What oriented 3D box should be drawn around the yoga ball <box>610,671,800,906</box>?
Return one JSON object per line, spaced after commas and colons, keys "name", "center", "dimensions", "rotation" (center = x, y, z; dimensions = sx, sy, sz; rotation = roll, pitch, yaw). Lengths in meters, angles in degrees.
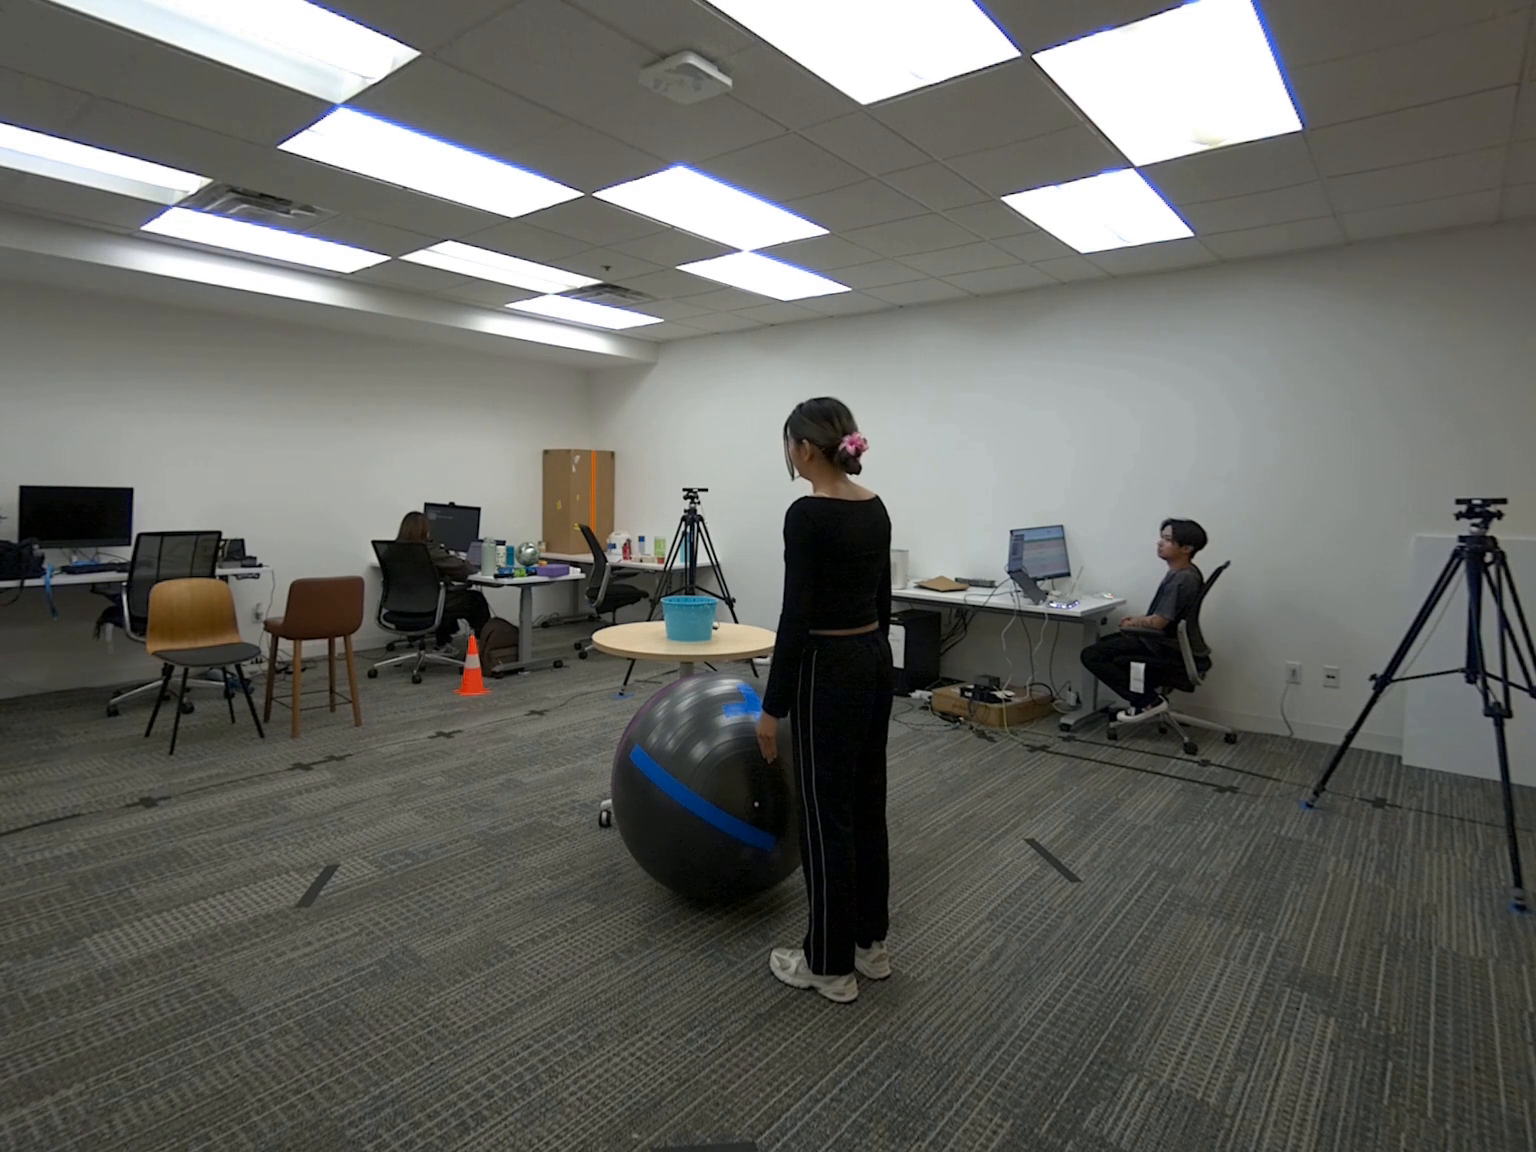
{"name": "yoga ball", "center": [-0.171, 0.725, 2.940], "dimensions": [0.757, 0.756, 0.762], "rotation": [1, 4, -2]}
